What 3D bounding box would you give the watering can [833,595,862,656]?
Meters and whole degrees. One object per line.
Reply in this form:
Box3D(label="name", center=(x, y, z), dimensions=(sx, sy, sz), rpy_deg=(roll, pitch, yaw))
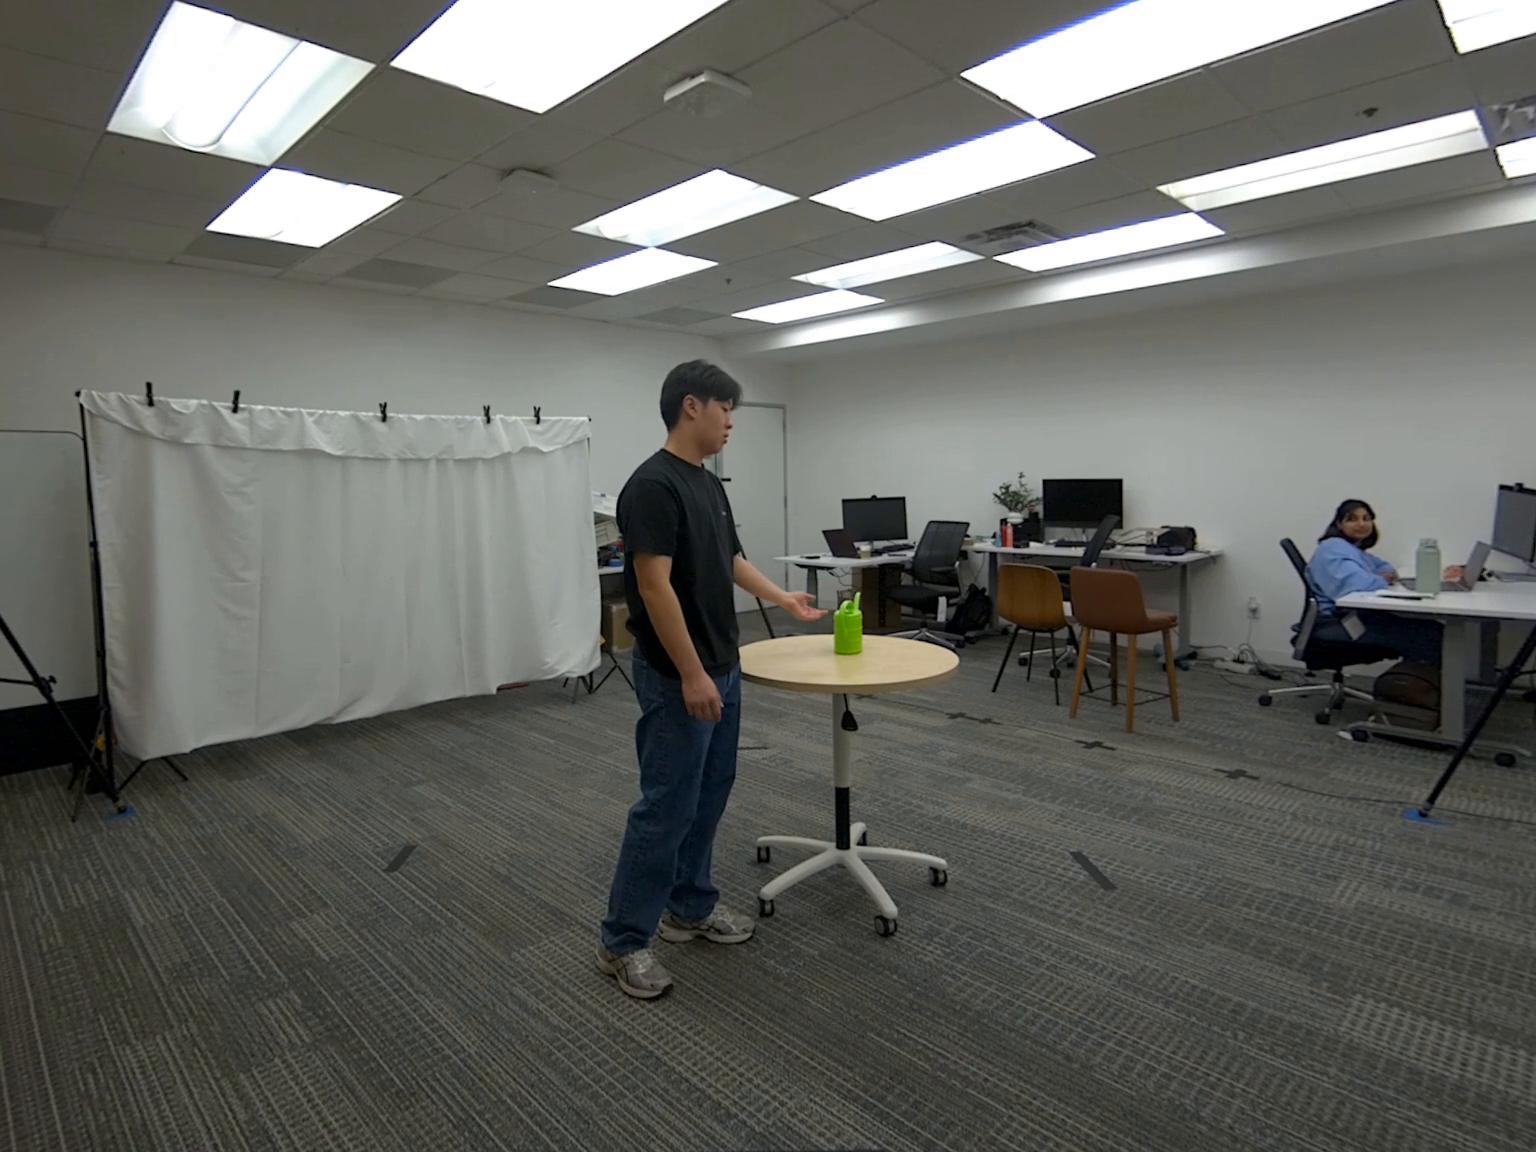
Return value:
Box3D(label="watering can", center=(0.295, 0.166, 2.968), dimensions=(0.100, 0.175, 0.274), rpy_deg=(1, 10, 27))
